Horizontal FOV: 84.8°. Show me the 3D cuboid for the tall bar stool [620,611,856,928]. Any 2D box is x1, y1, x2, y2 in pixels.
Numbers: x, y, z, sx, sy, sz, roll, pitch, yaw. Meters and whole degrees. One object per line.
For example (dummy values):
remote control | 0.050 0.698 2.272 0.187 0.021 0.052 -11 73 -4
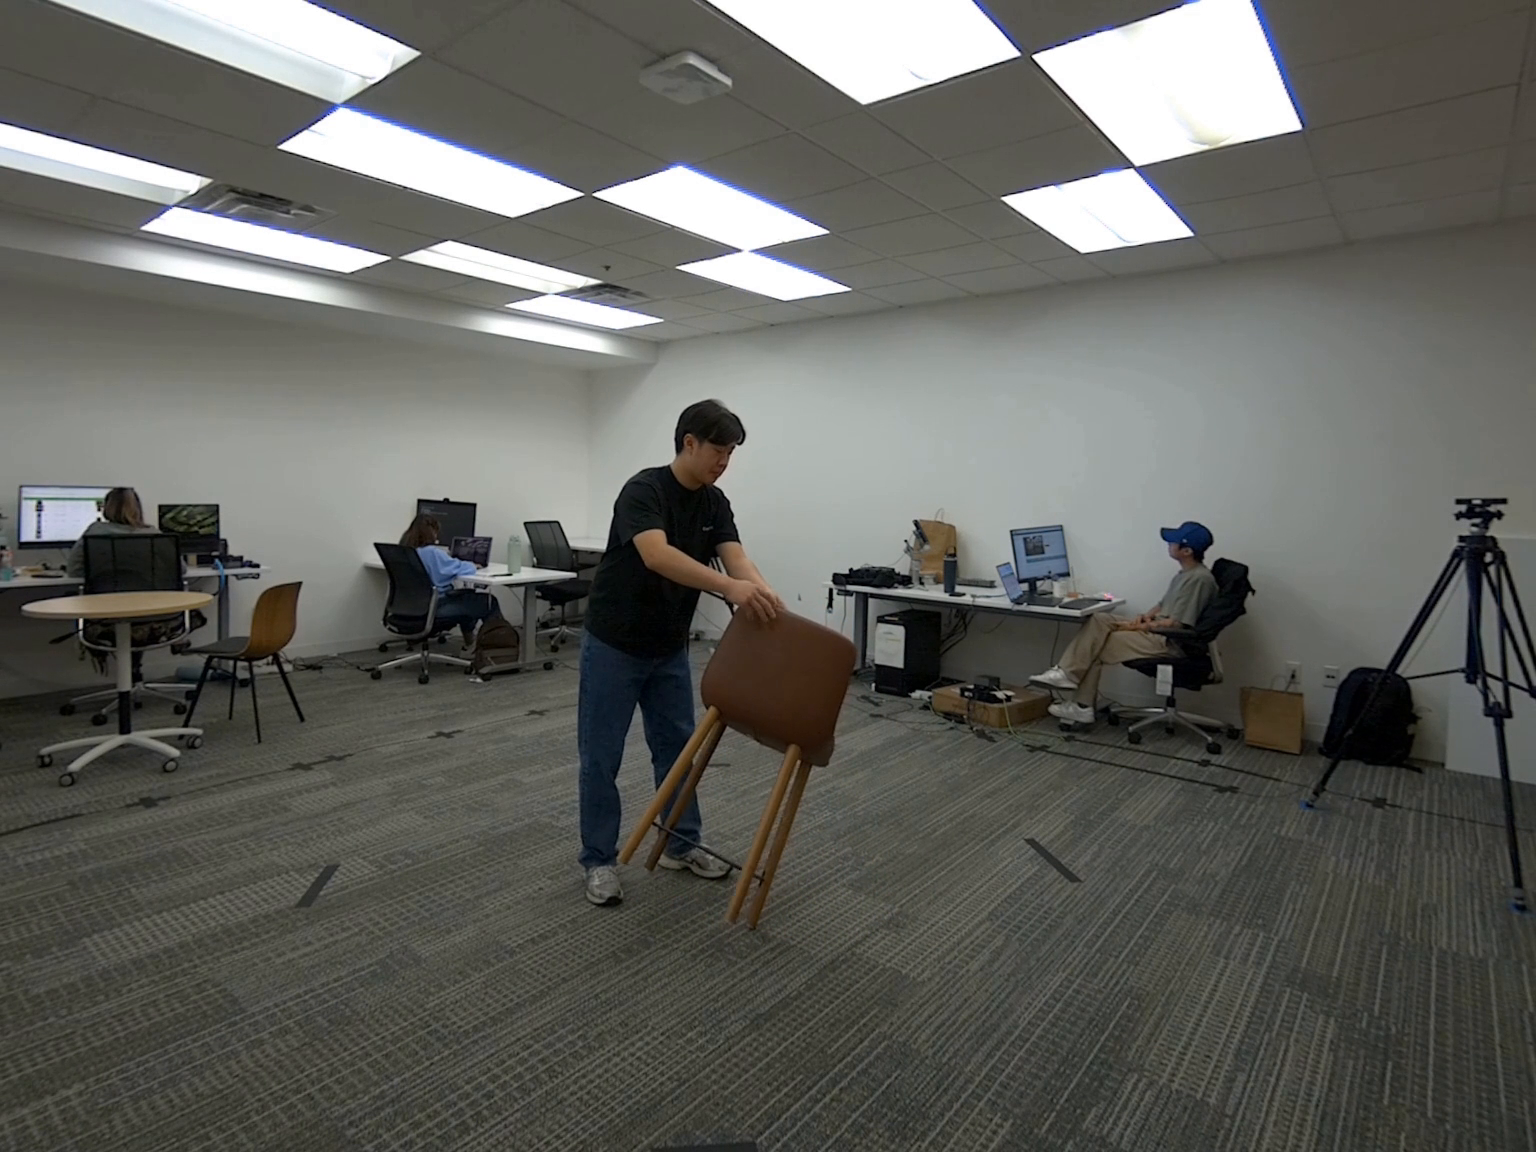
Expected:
tall bar stool | -0.070 0.588 2.699 0.467 0.896 0.454 20 -17 16
